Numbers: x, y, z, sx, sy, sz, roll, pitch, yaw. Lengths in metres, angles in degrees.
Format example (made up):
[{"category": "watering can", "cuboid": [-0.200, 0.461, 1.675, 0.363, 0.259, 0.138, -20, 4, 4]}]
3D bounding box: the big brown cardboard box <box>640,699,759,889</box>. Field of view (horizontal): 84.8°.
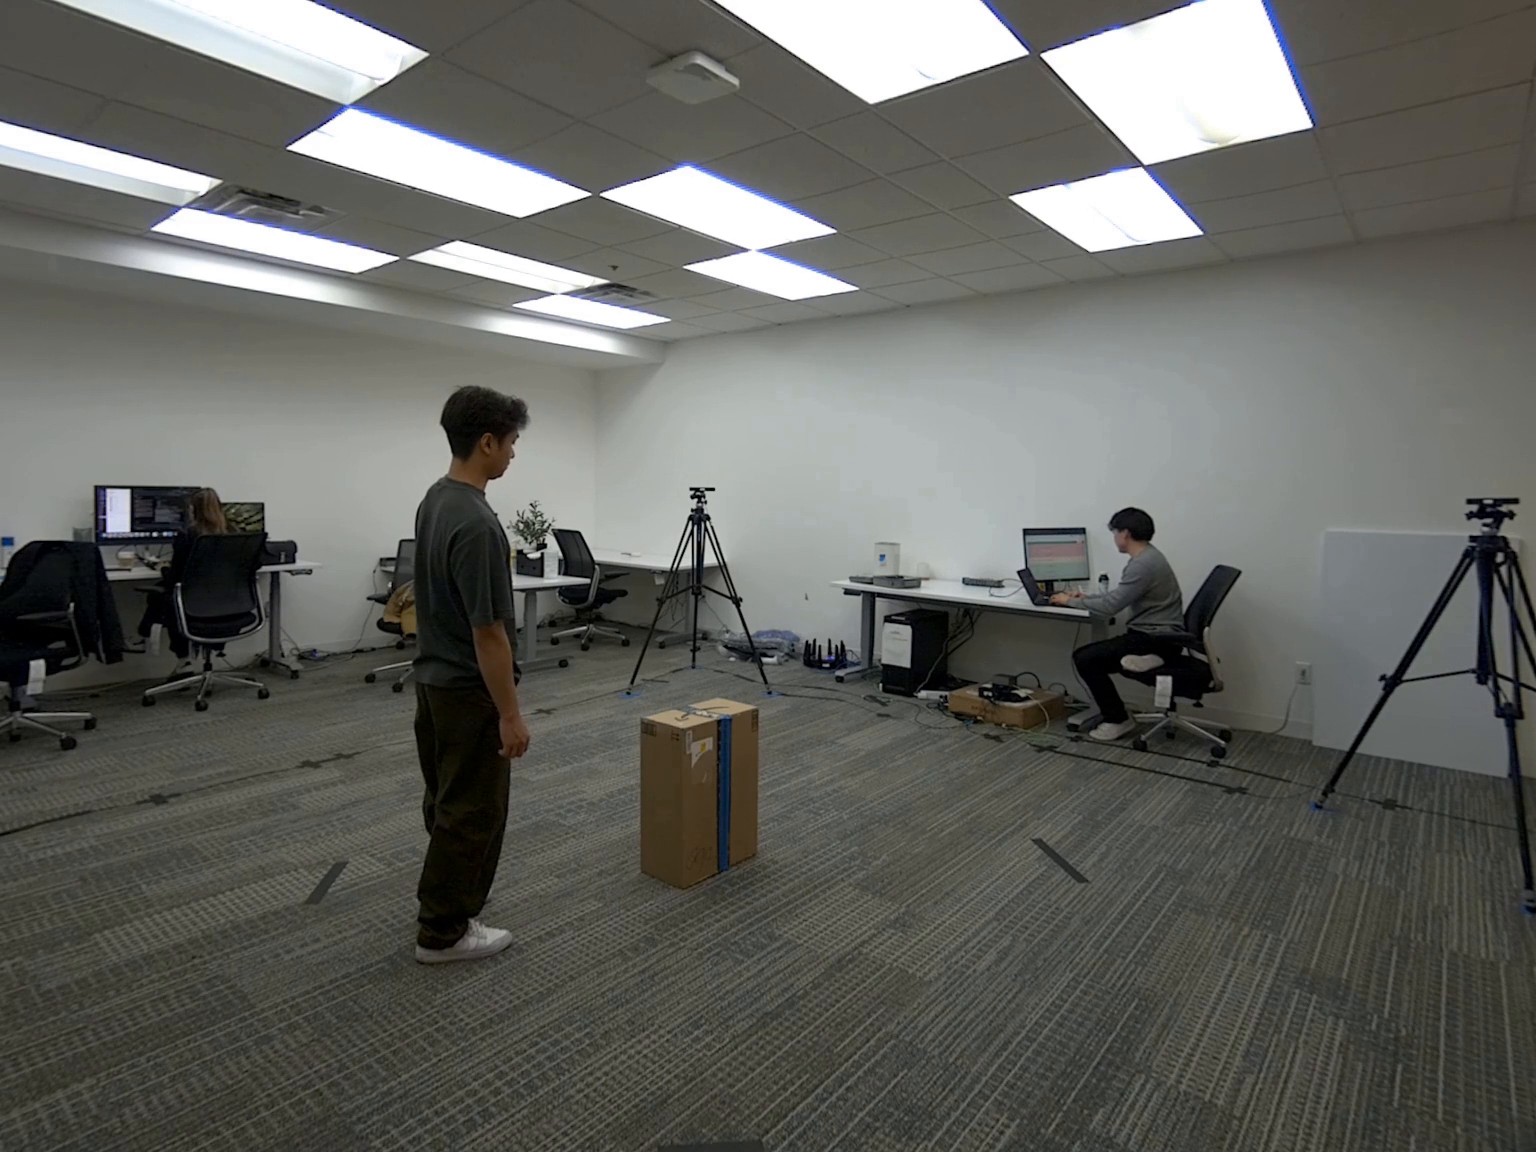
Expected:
[{"category": "big brown cardboard box", "cuboid": [-0.256, 0.775, 3.140, 0.241, 0.586, 0.405, 4, 6, 40]}]
